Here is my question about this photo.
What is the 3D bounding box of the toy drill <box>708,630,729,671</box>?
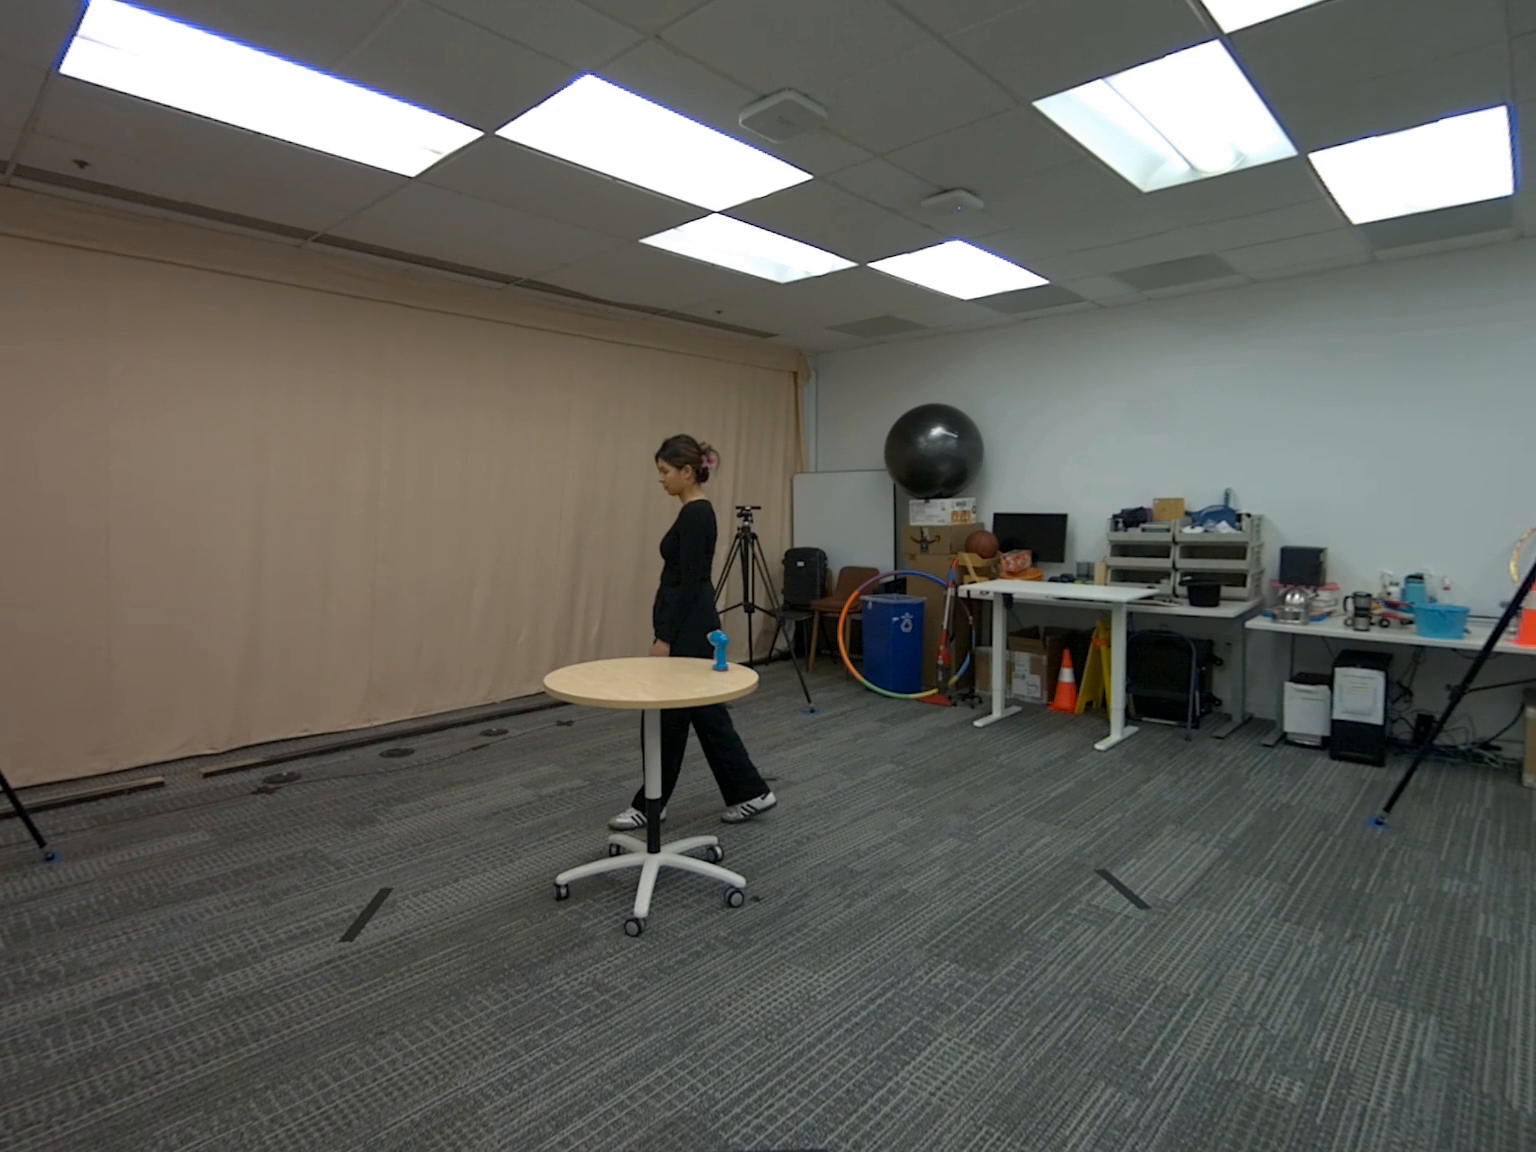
[{"bbox_3d":[-0.197,0.274,3.167,0.059,0.145,0.175,-2,5,-28],"label":"toy drill"}]
